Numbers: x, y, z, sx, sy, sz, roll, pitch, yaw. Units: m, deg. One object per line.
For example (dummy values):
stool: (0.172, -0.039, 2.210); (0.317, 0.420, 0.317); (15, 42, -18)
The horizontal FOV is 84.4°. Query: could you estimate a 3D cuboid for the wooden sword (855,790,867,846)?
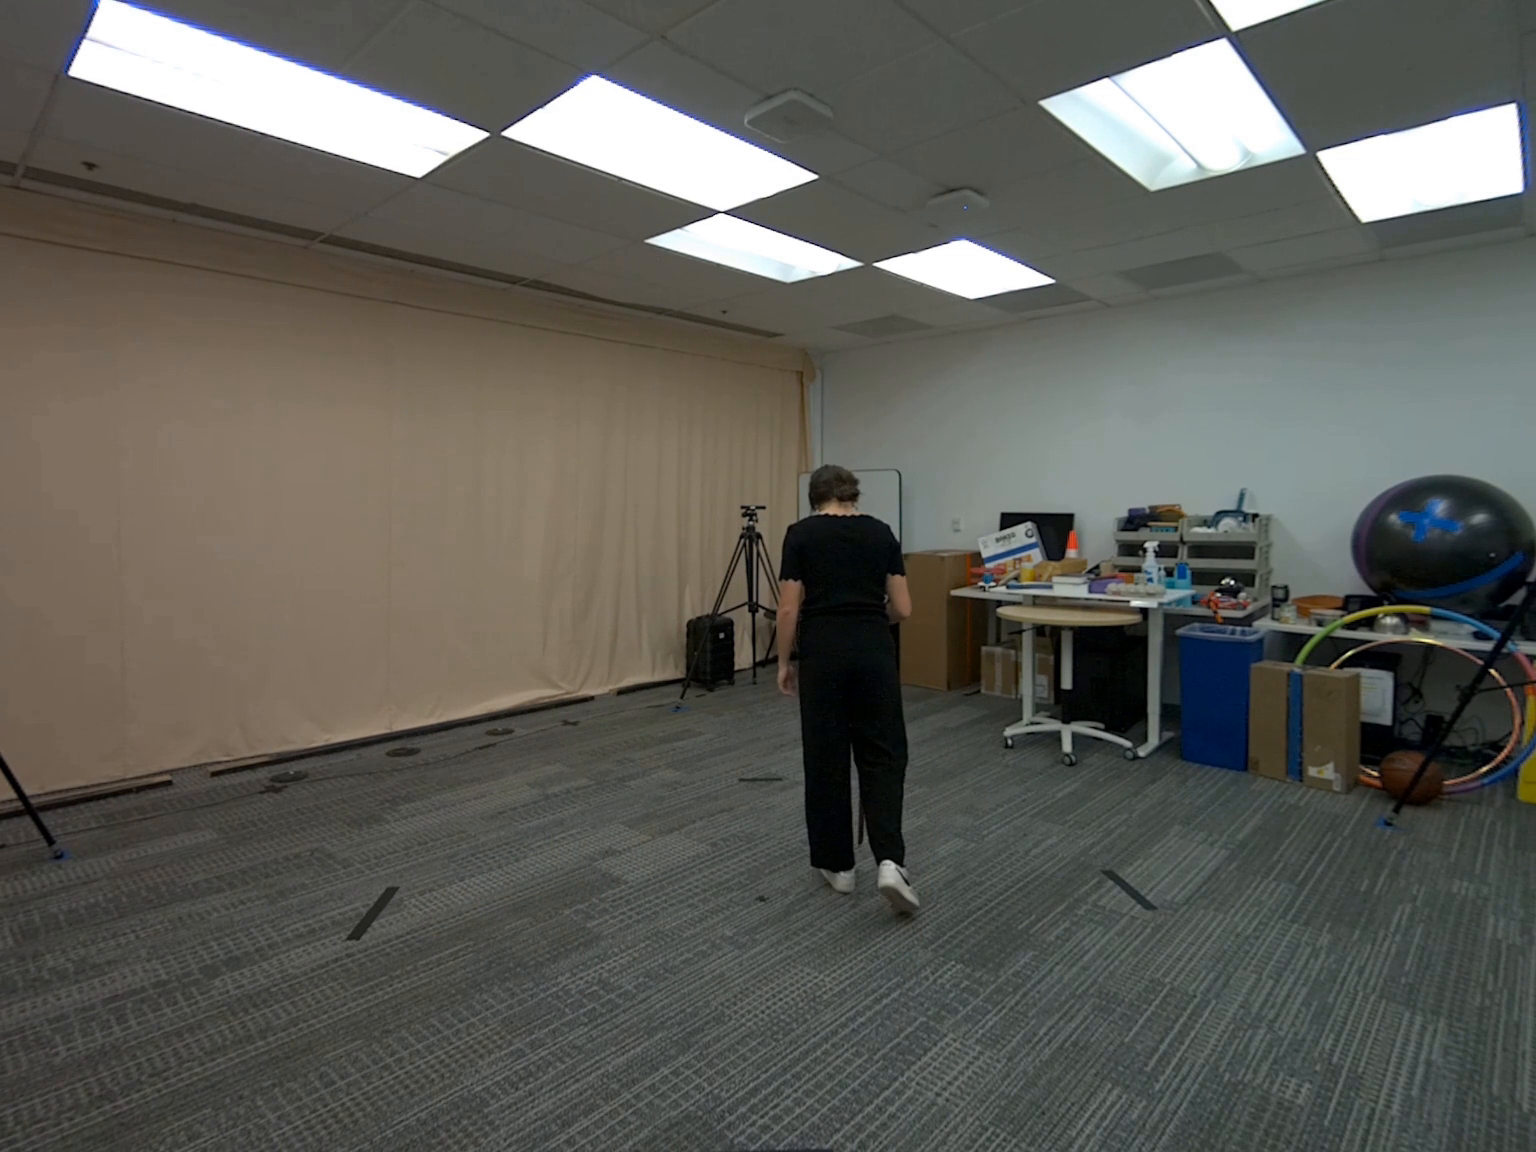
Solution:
wooden sword: (0.384, 0.607, 3.346); (0.051, 1.019, 0.024); (-2, 7, 1)
